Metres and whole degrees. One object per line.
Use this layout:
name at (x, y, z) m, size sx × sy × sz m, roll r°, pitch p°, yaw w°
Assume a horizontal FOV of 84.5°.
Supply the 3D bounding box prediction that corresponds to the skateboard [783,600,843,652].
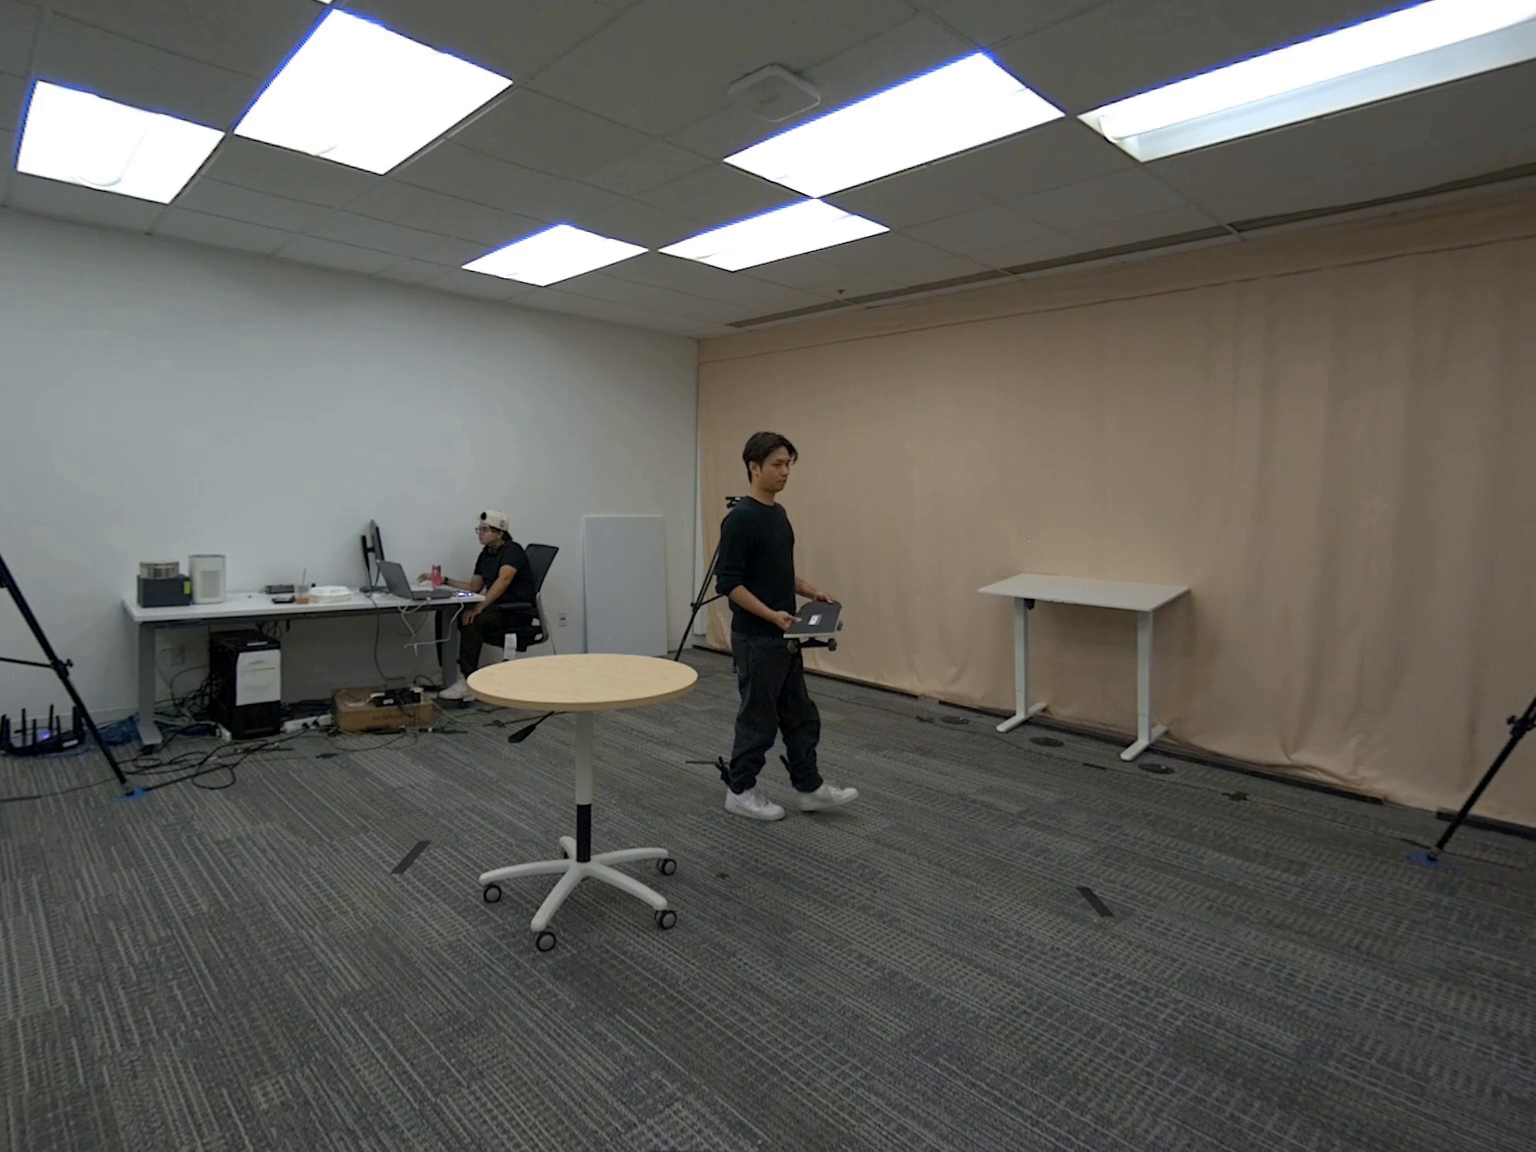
skateboard at (0.201, 0.214, 3.431) m, size 0.195 × 0.110 × 0.782 m, roll -3°, pitch 8°, yaw 11°
